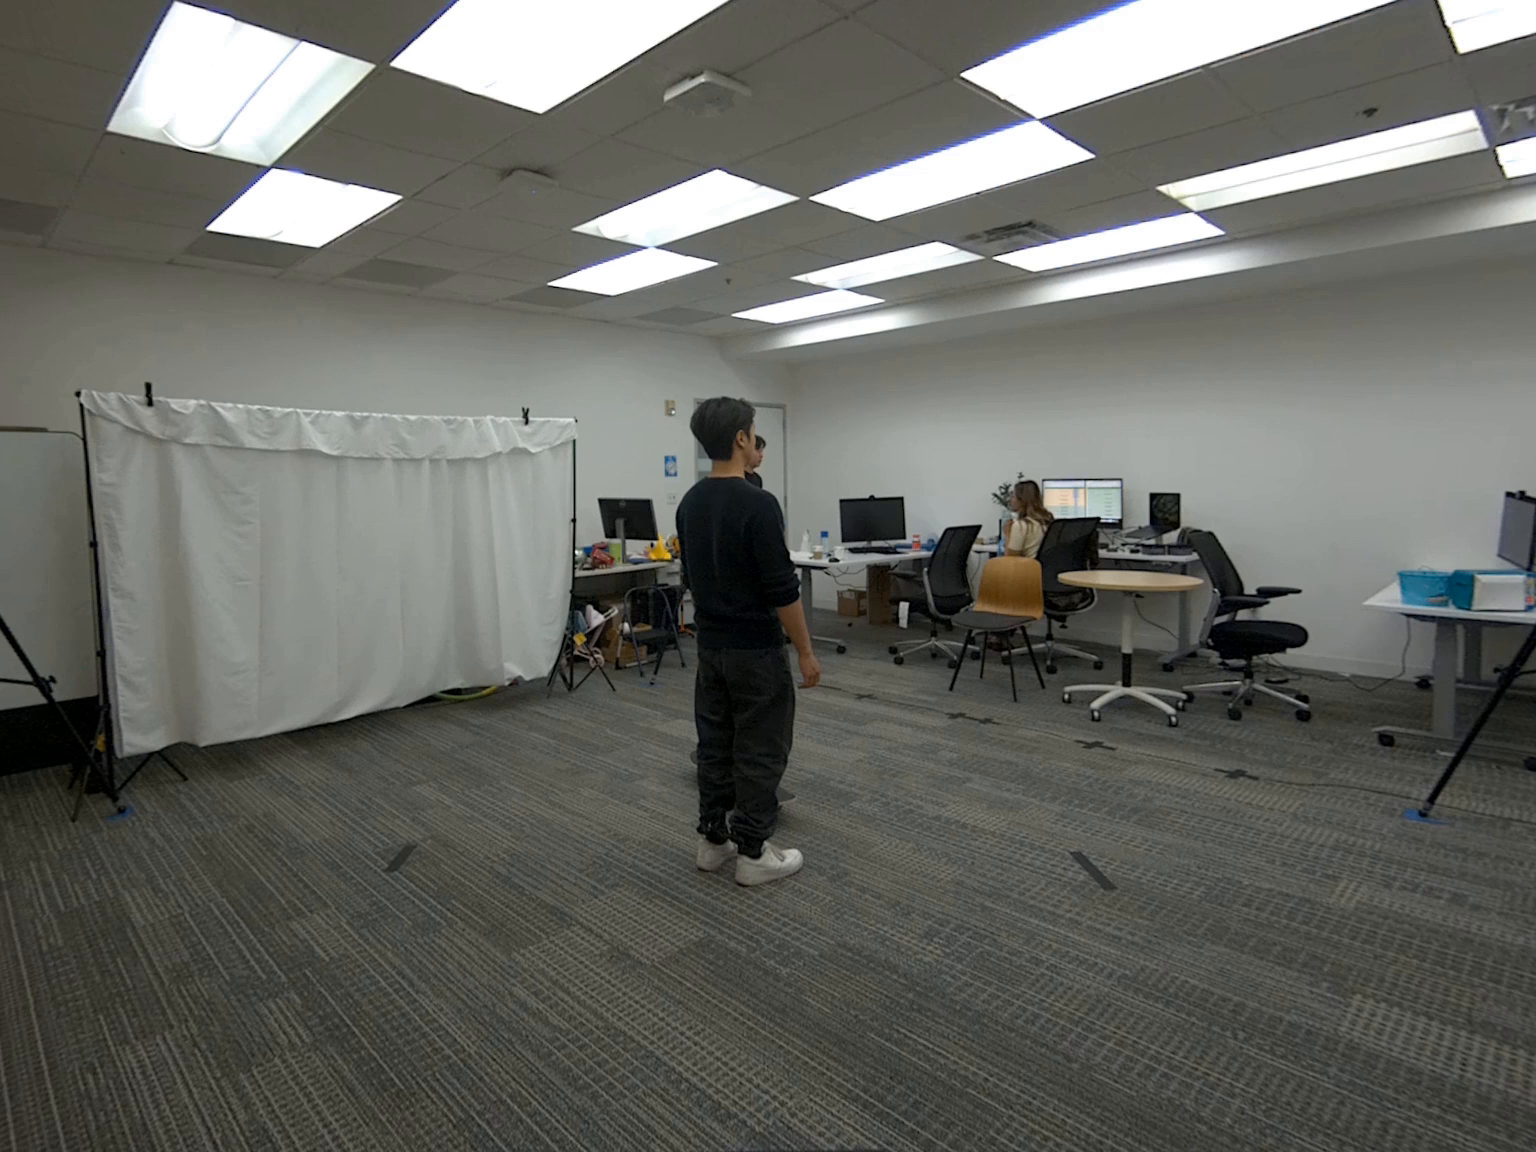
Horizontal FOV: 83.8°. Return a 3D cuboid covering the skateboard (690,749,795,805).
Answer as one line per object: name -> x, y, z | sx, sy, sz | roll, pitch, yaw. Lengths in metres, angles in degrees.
skateboard -> -0.116, 0.918, 3.751 | 0.189, 0.110, 0.807 | -4, 6, -29
